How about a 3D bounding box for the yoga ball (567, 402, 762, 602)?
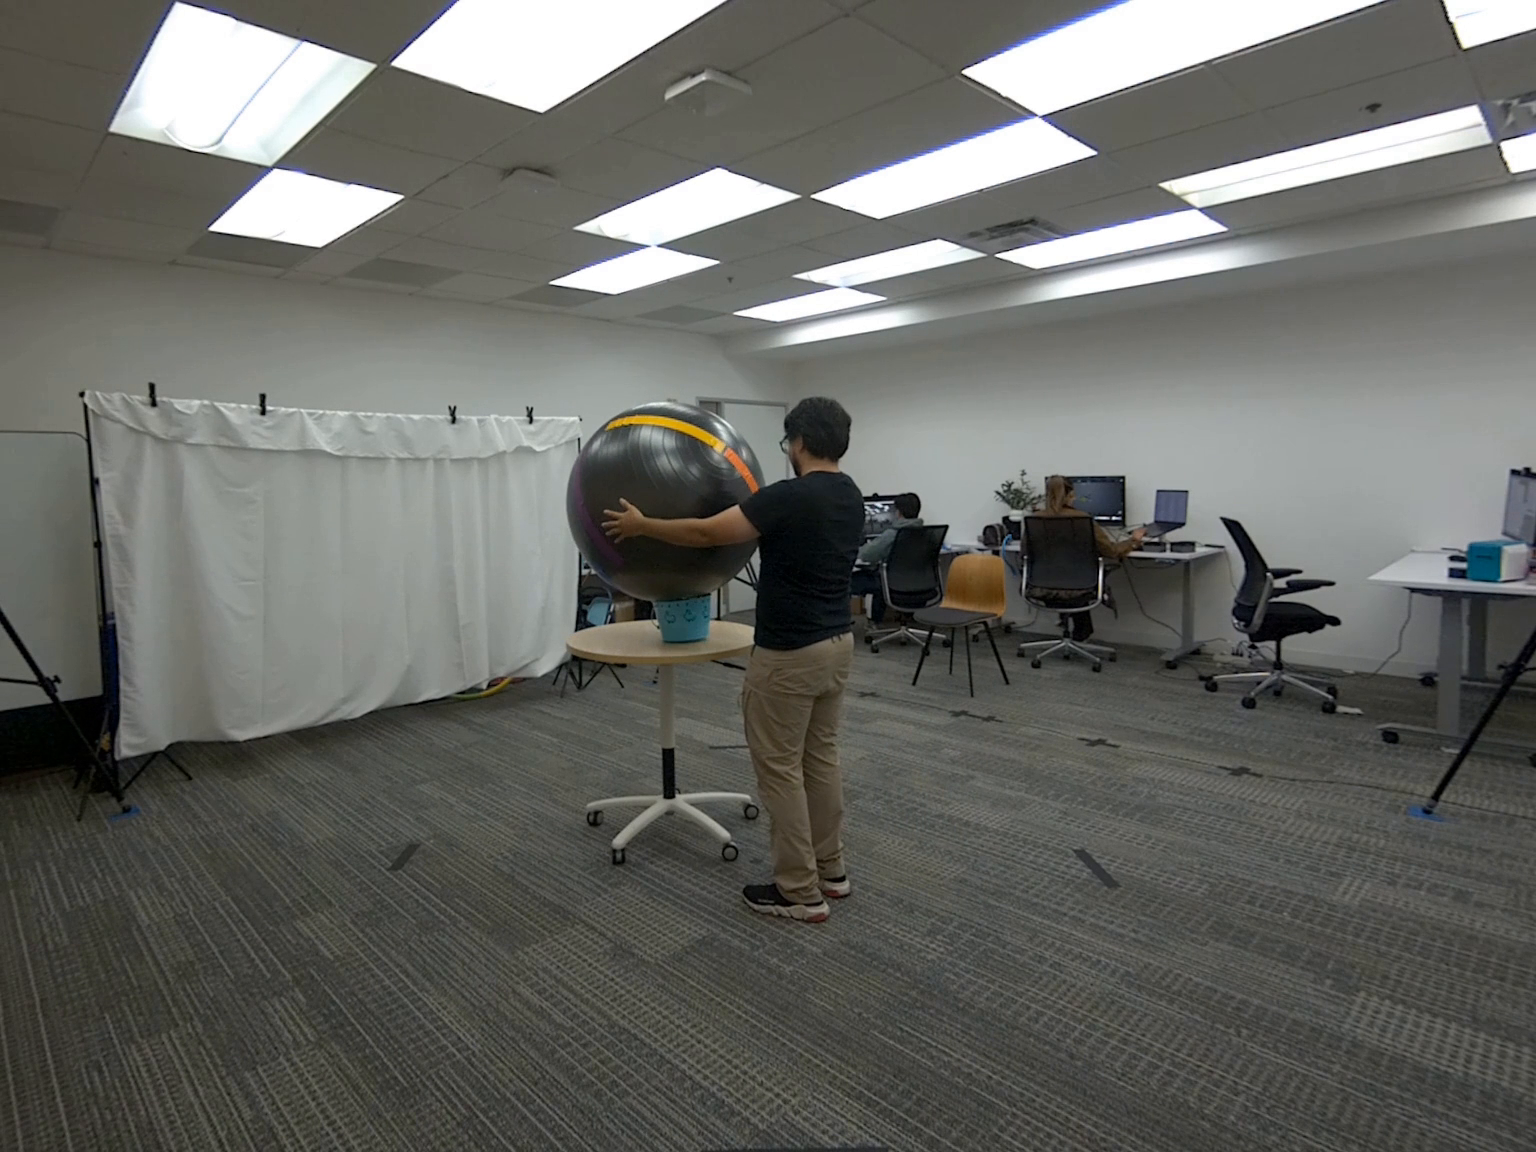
[{"bbox_3d":[-0.379,-0.273,3.245,0.757,0.755,0.762,-1,5,-2],"label":"yoga ball"}]
